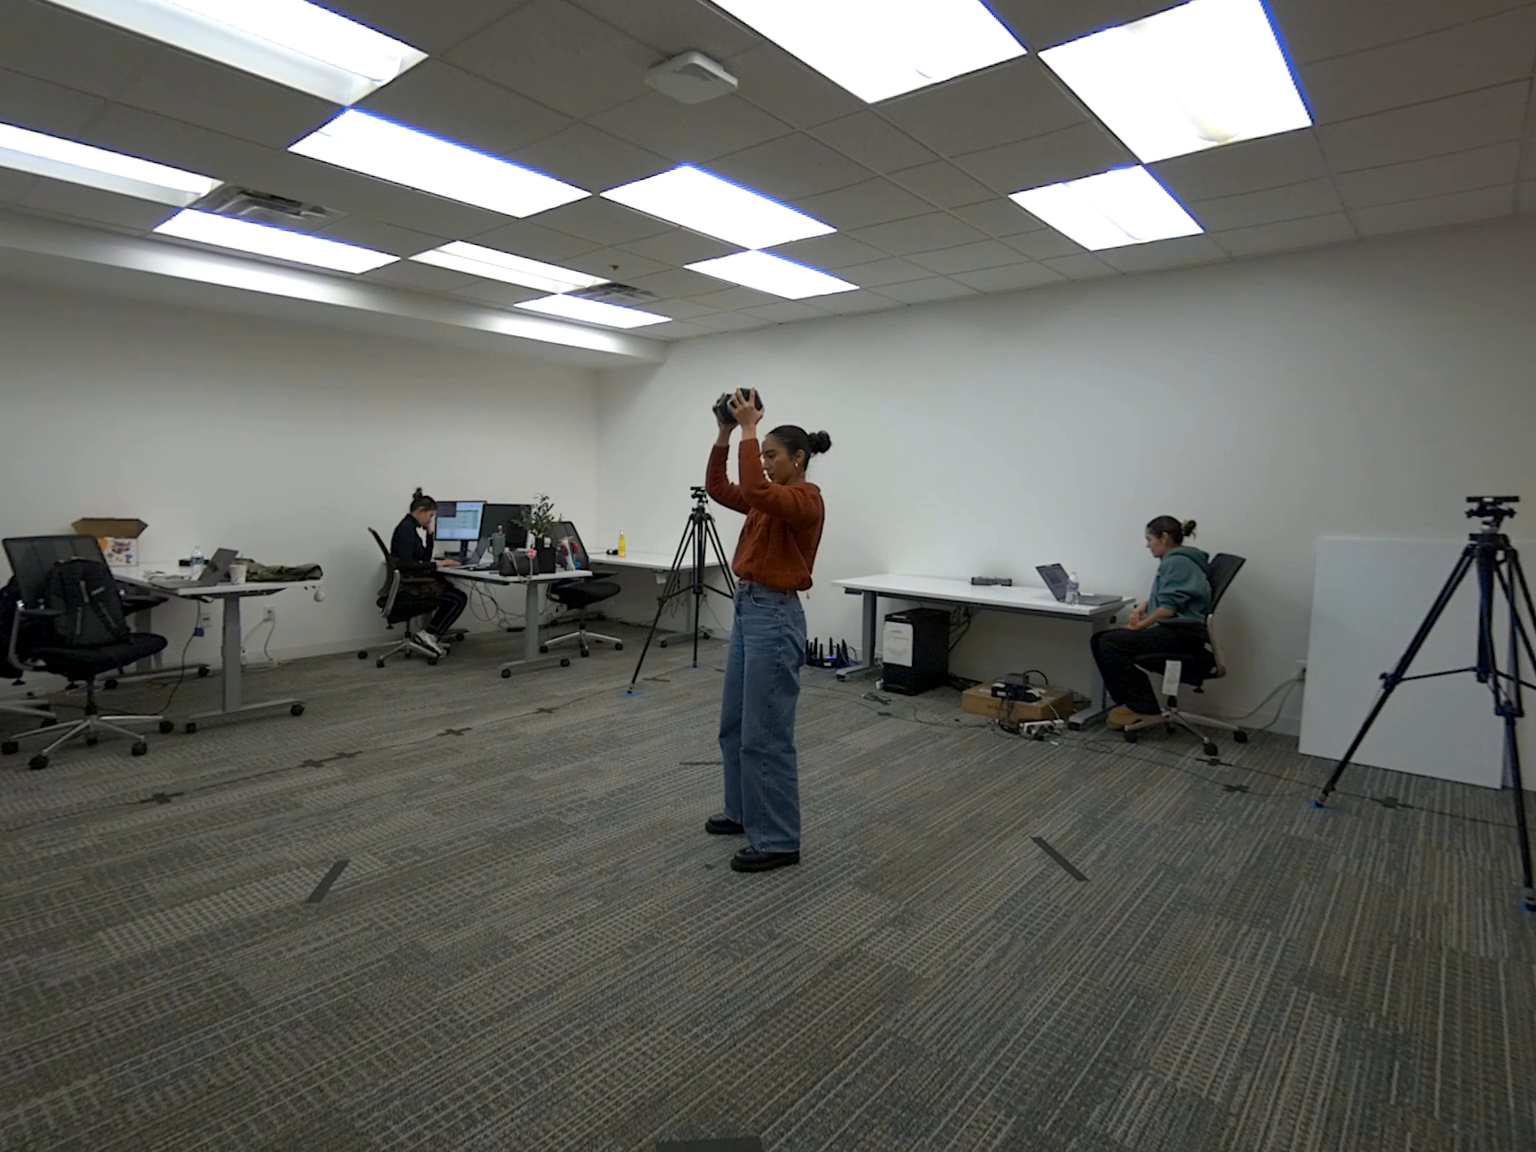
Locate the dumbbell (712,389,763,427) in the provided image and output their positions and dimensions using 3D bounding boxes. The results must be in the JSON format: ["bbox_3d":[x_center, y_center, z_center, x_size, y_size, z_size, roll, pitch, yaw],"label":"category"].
[{"bbox_3d":[-0.120,-0.646,3.215,0.106,0.123,0.299,40,-4,-16],"label":"dumbbell"}]
